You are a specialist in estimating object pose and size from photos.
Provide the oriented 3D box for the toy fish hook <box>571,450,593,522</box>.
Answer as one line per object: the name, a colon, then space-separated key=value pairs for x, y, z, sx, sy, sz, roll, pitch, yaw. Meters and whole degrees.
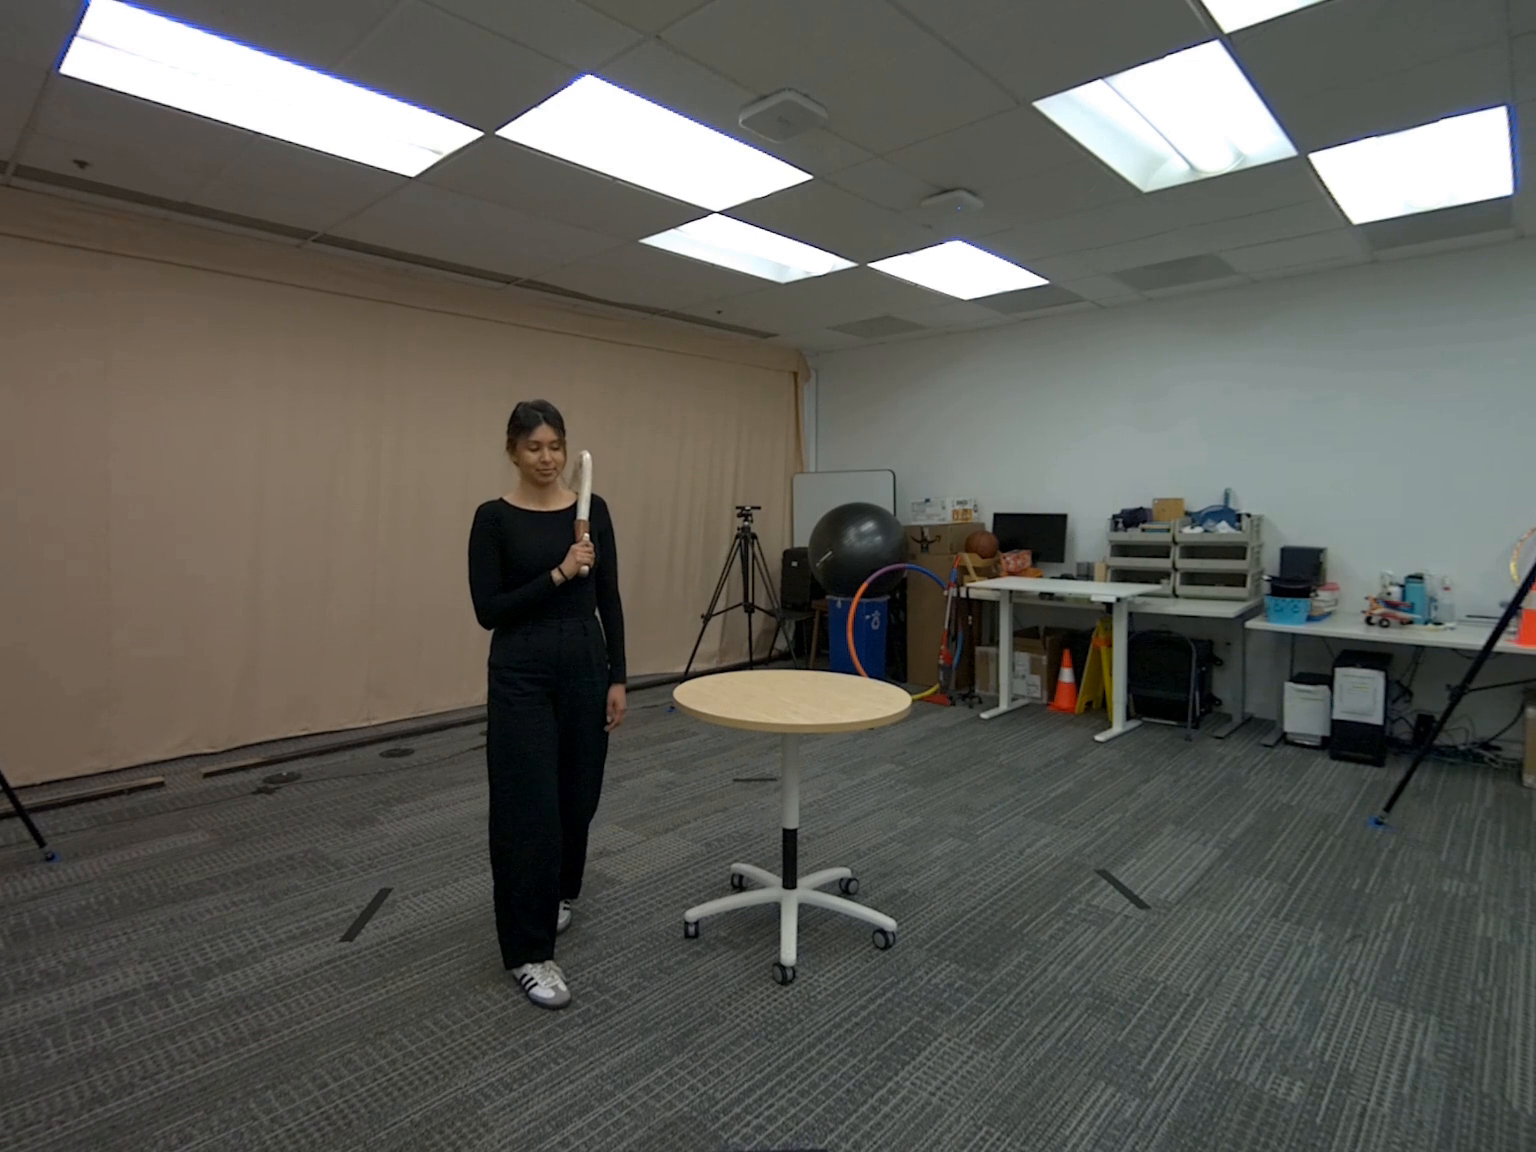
toy fish hook: x=-0.583 y=-0.171 z=2.595 sx=0.047 sy=0.518 sz=0.224 roll=8 pitch=-42 yaw=-23
